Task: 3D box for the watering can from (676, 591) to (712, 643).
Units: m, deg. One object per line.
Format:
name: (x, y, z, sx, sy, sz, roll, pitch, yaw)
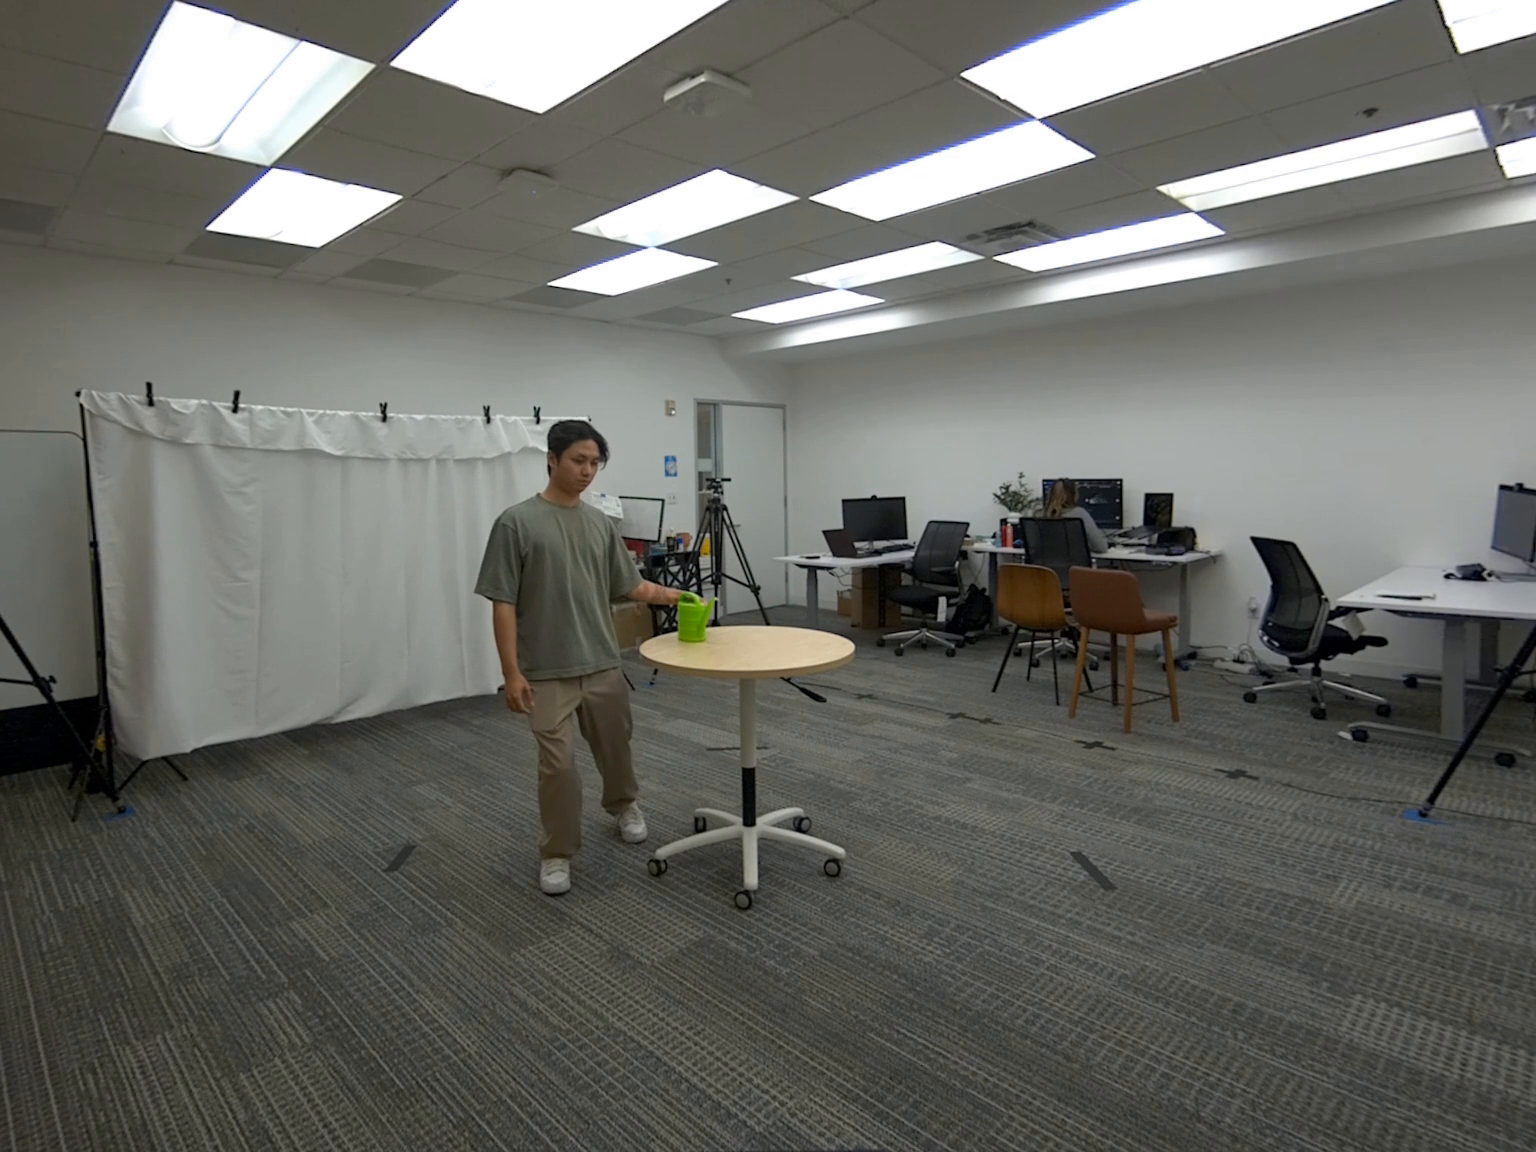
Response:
watering can: (-0.269, 0.156, 3.128, 0.096, 0.176, 0.284, -3, 5, -18)
